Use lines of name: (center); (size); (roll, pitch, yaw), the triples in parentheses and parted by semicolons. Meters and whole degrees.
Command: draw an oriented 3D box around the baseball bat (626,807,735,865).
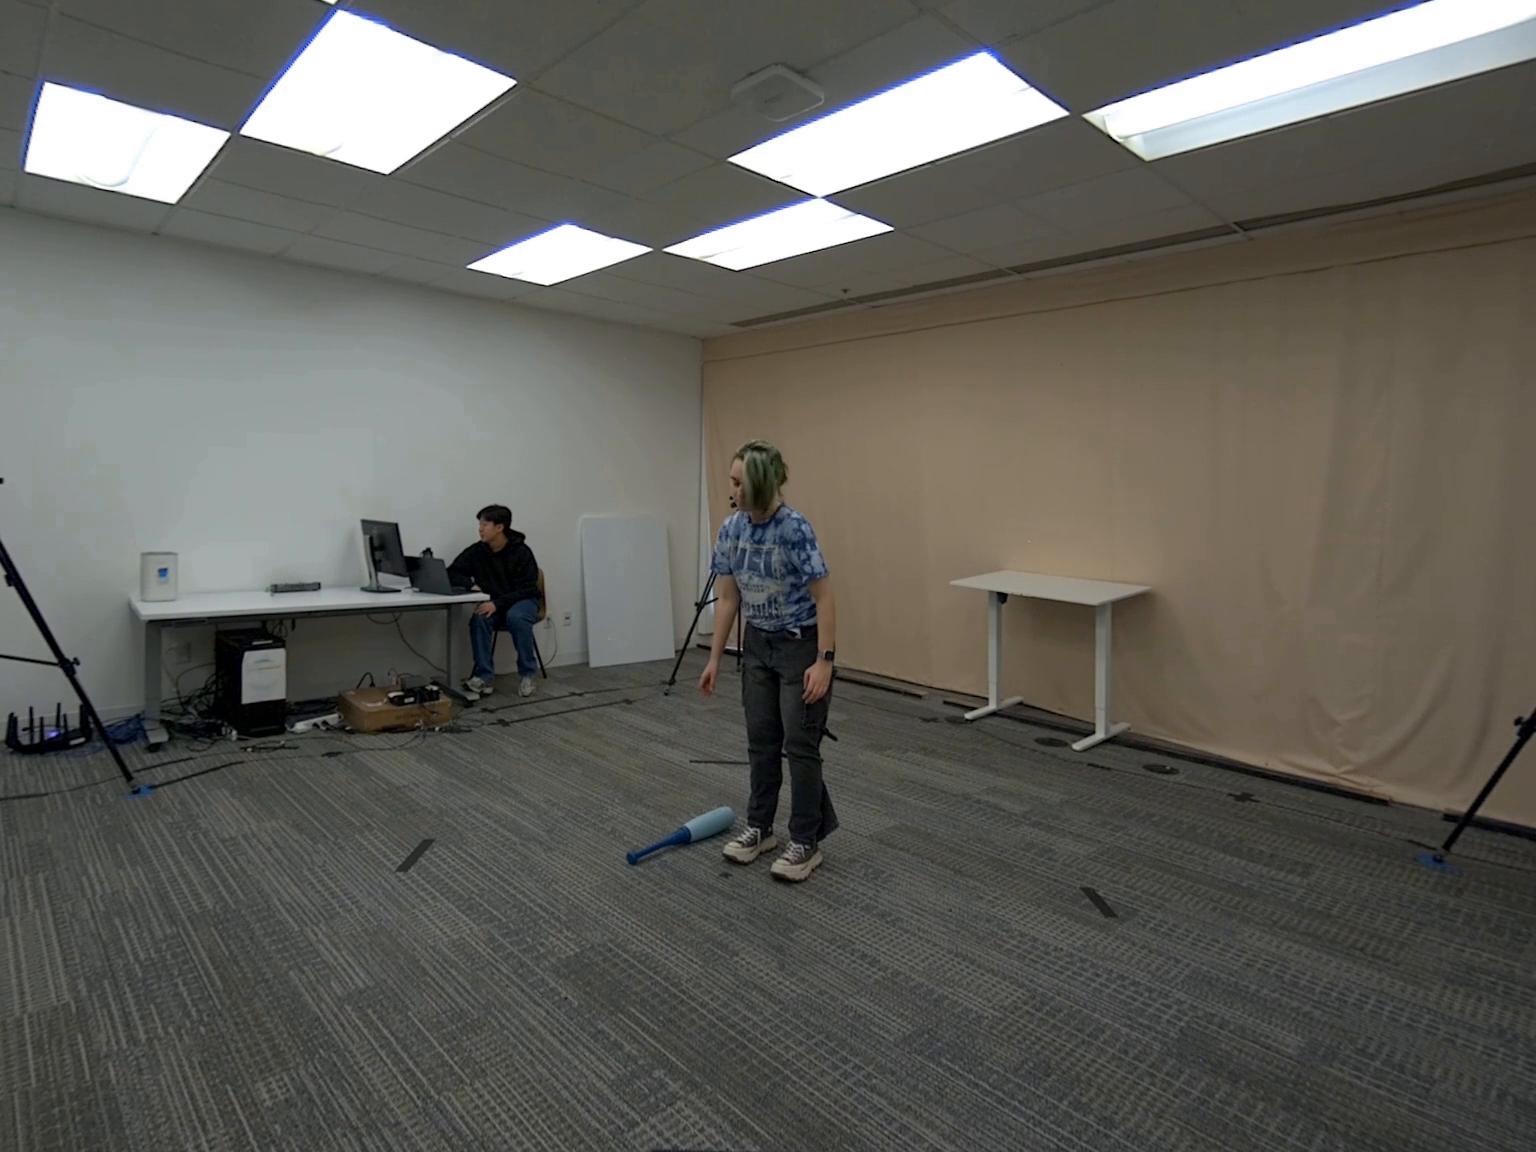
baseball bat: (-0.348, 1.039, 3.365); (0.091, 0.088, 0.532); (5, 10, 42)
